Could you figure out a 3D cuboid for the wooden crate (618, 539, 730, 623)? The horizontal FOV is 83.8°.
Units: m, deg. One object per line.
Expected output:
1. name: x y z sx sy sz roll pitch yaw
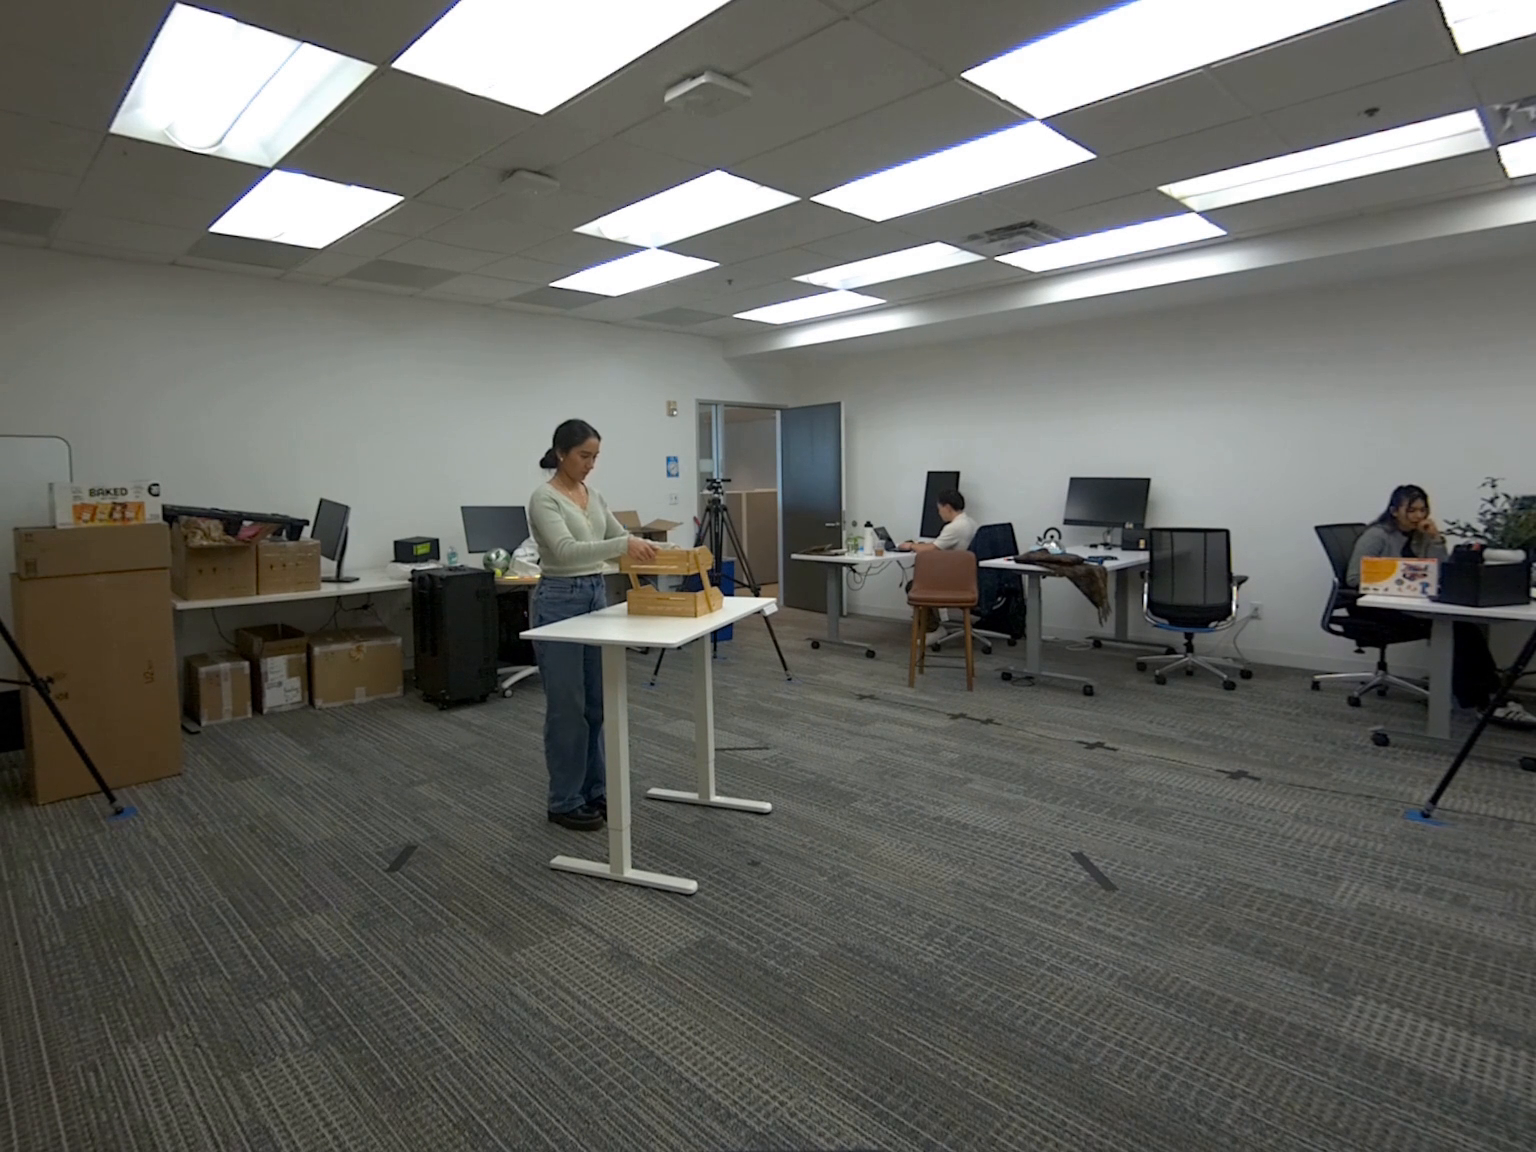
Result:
1. wooden crate: -0.363 0.009 3.333 0.331 0.272 0.297 1 6 21
